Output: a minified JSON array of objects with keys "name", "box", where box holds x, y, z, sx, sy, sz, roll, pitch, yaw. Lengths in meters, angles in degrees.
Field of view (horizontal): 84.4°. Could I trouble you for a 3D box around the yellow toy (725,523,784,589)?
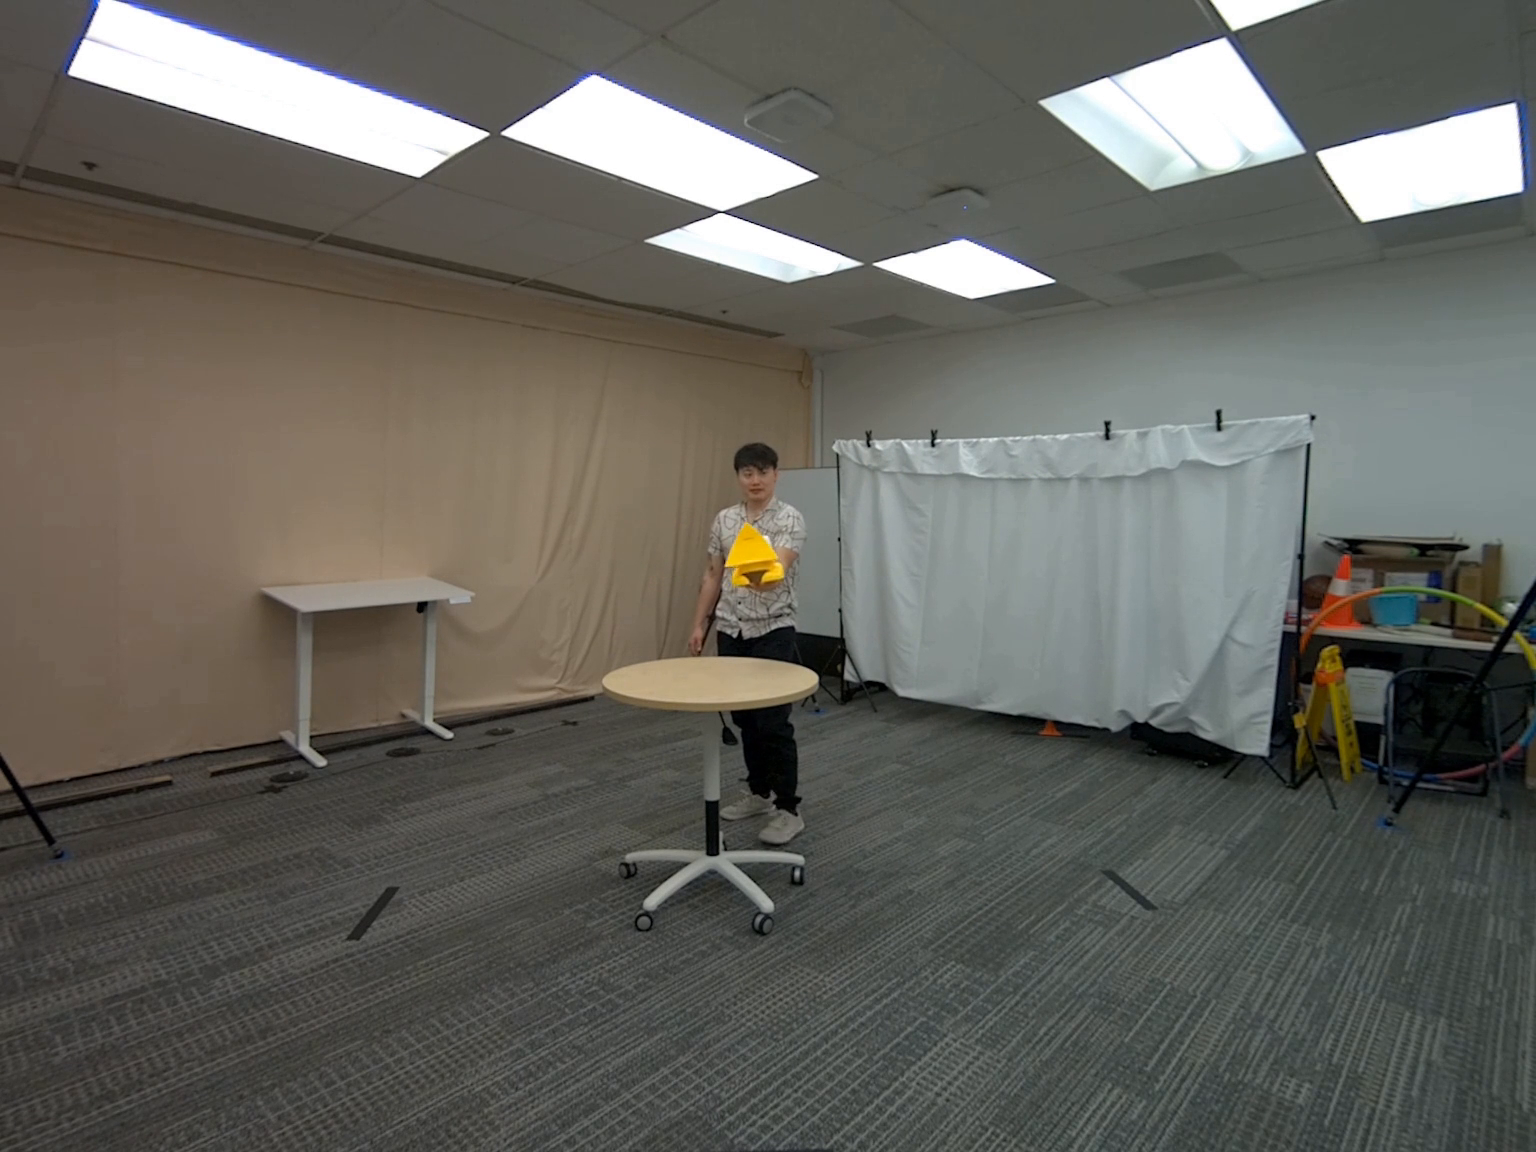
[{"name":"yellow toy","box":[-0.057,-0.095,3.201,0.207,0.230,0.191,-9,3,11]}]
